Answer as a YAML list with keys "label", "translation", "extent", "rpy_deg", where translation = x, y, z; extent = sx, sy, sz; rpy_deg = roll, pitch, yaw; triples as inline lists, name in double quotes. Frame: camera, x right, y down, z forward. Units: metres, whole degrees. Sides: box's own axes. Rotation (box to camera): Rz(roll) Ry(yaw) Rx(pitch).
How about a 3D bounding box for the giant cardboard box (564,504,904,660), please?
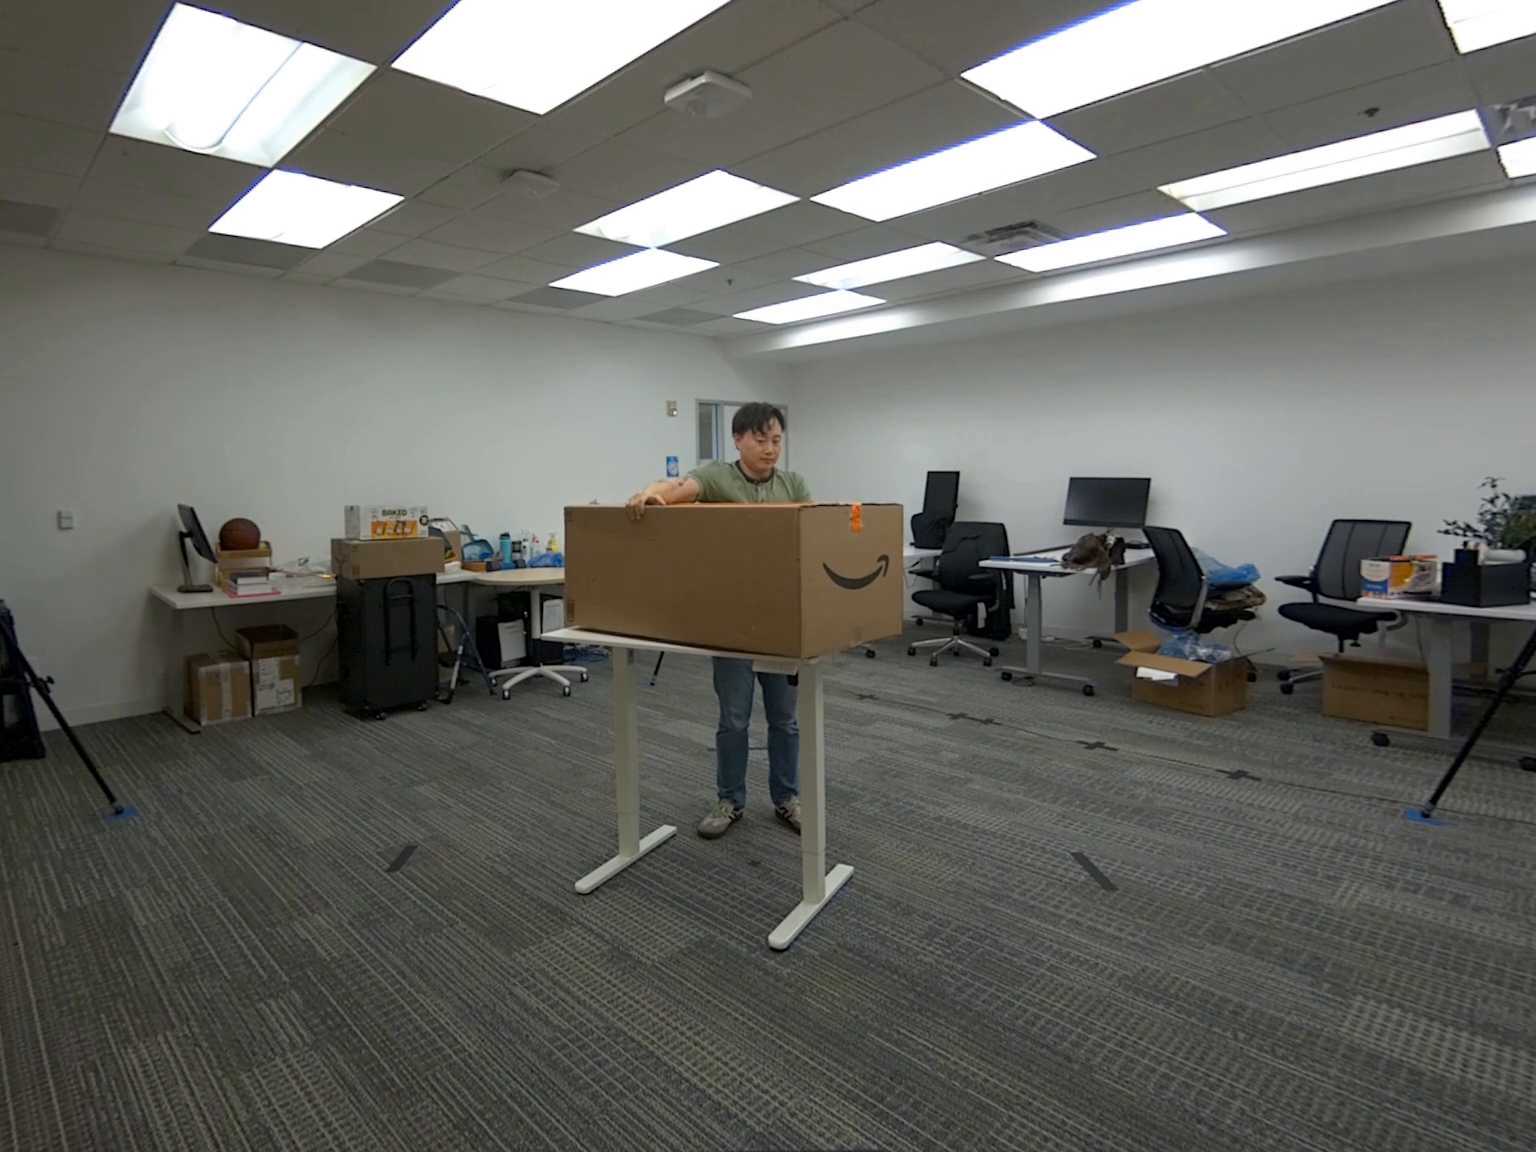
- label: "giant cardboard box"
  translation: [-0.140, -0.029, 2.872]
  extent: [1.056, 0.425, 0.562]
  rpy_deg: [3, 5, 39]
